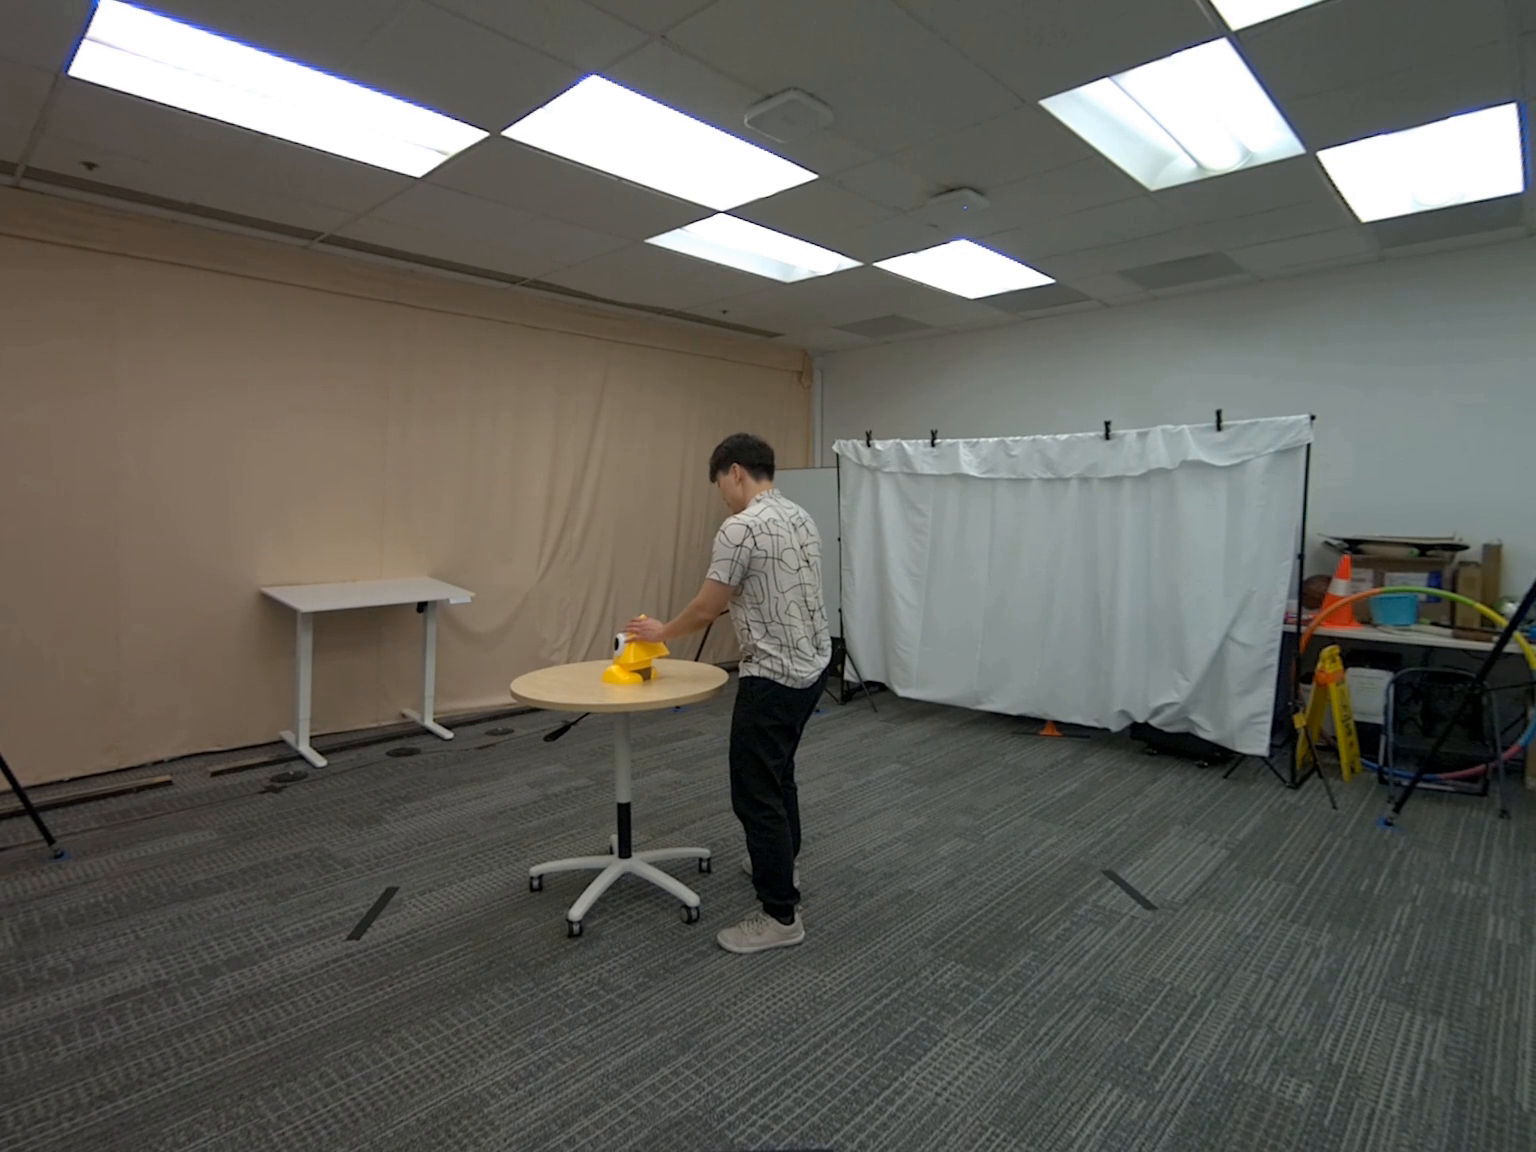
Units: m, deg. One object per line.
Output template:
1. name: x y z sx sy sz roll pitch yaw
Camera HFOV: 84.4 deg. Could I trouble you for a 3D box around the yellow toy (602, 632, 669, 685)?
1. yellow toy: -0.481 0.252 2.983 0.199 0.230 0.199 2 4 34
